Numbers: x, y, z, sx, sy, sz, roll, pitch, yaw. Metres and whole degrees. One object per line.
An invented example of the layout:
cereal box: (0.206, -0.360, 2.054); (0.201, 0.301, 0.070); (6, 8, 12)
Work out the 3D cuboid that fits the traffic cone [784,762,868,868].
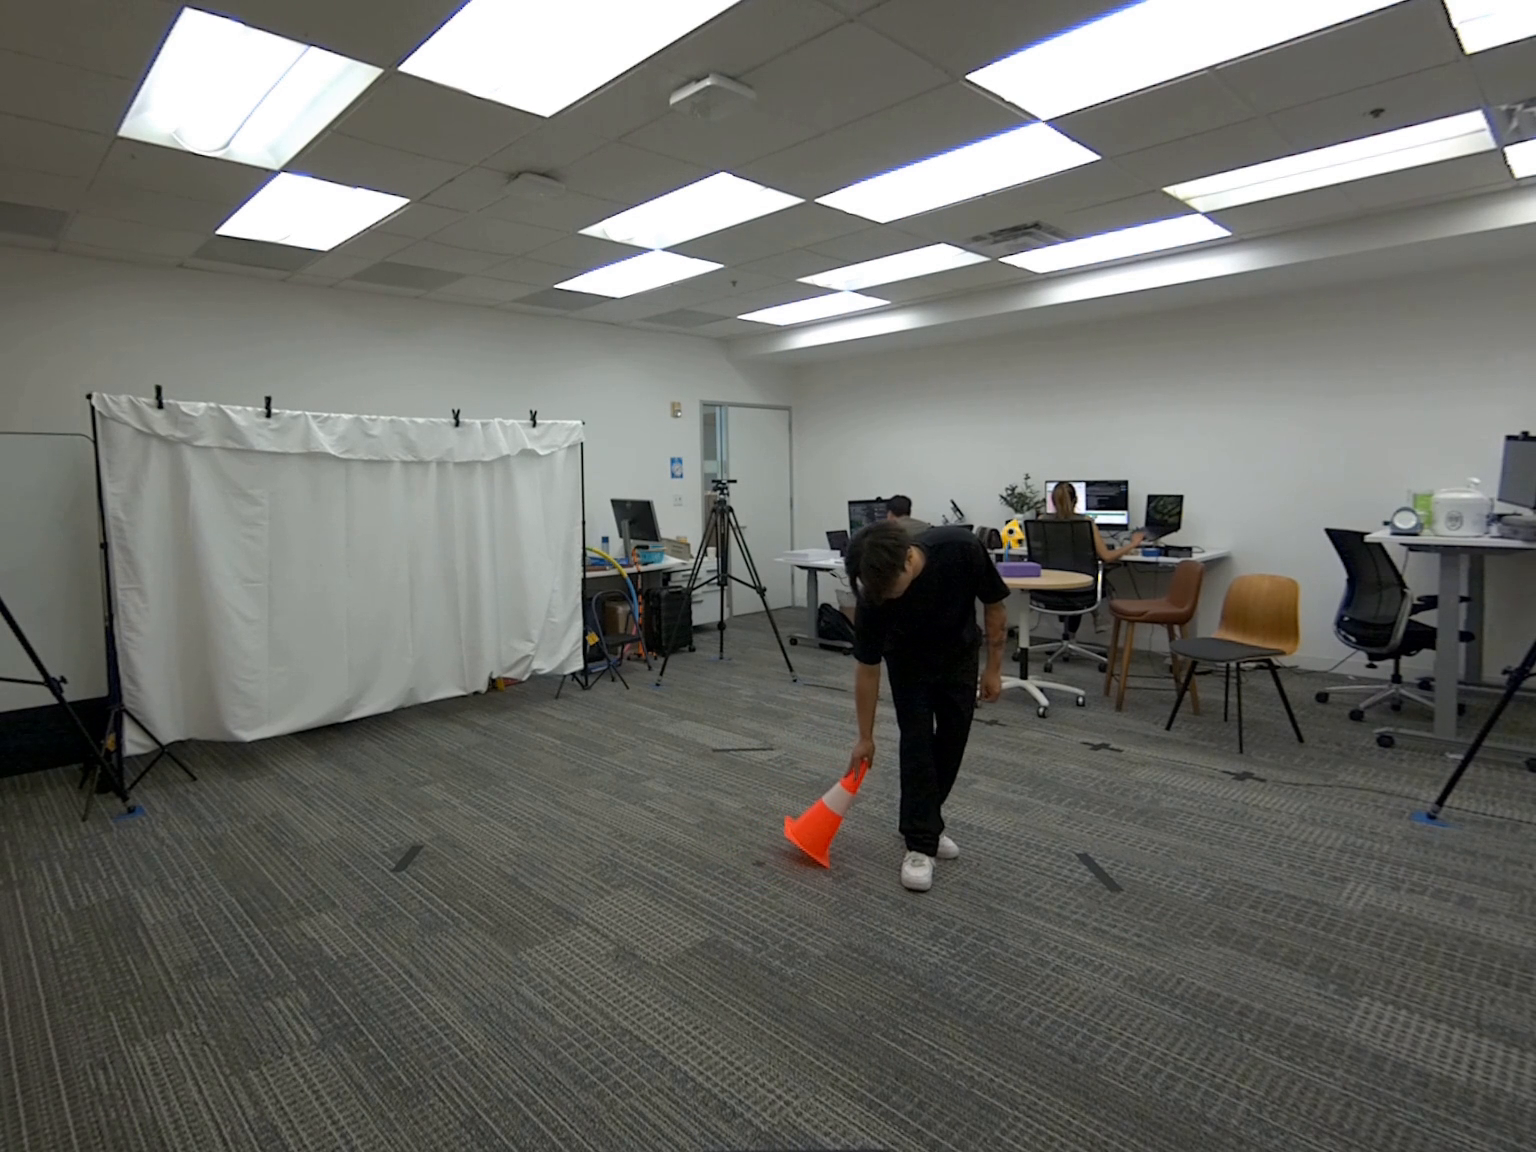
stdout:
traffic cone: (0.257, 0.833, 3.143); (0.207, 0.383, 0.202); (35, 7, 6)
